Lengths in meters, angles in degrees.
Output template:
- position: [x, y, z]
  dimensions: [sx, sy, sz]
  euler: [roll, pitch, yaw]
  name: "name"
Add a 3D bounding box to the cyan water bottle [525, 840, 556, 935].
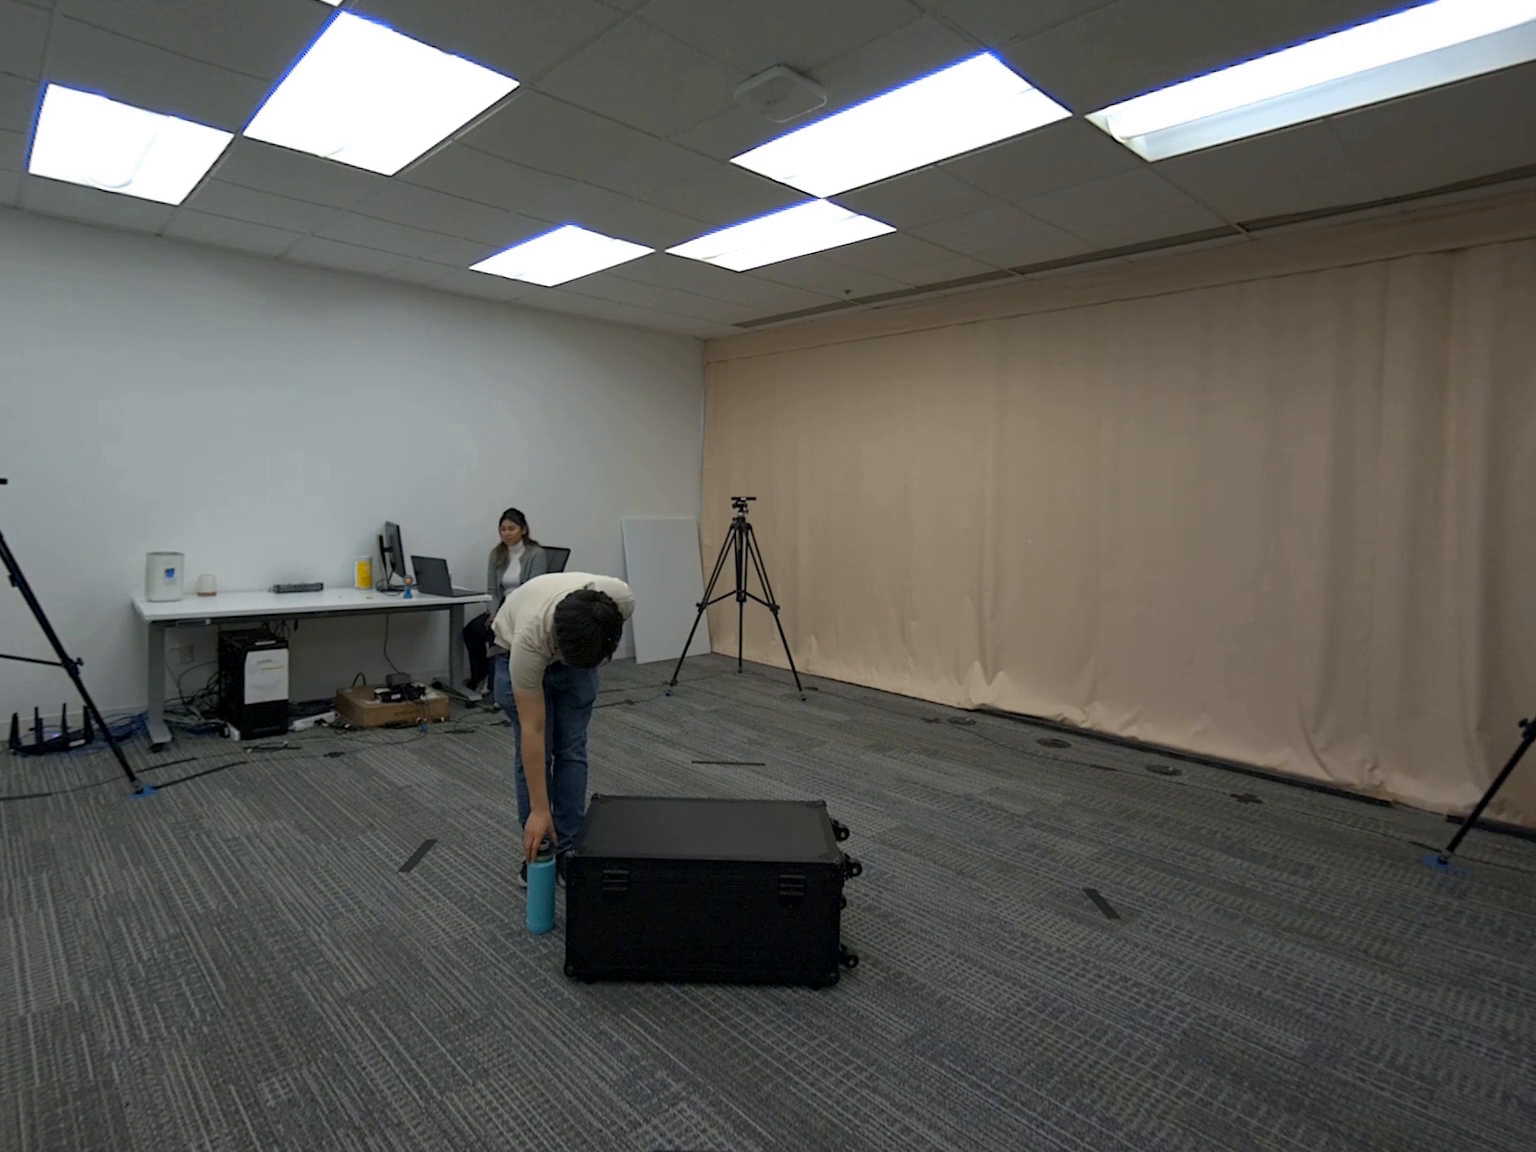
- position: [-0.728, 0.985, 2.708]
  dimensions: [0.092, 0.282, 0.092]
  euler: [3, 4, -2]
  name: "cyan water bottle"
